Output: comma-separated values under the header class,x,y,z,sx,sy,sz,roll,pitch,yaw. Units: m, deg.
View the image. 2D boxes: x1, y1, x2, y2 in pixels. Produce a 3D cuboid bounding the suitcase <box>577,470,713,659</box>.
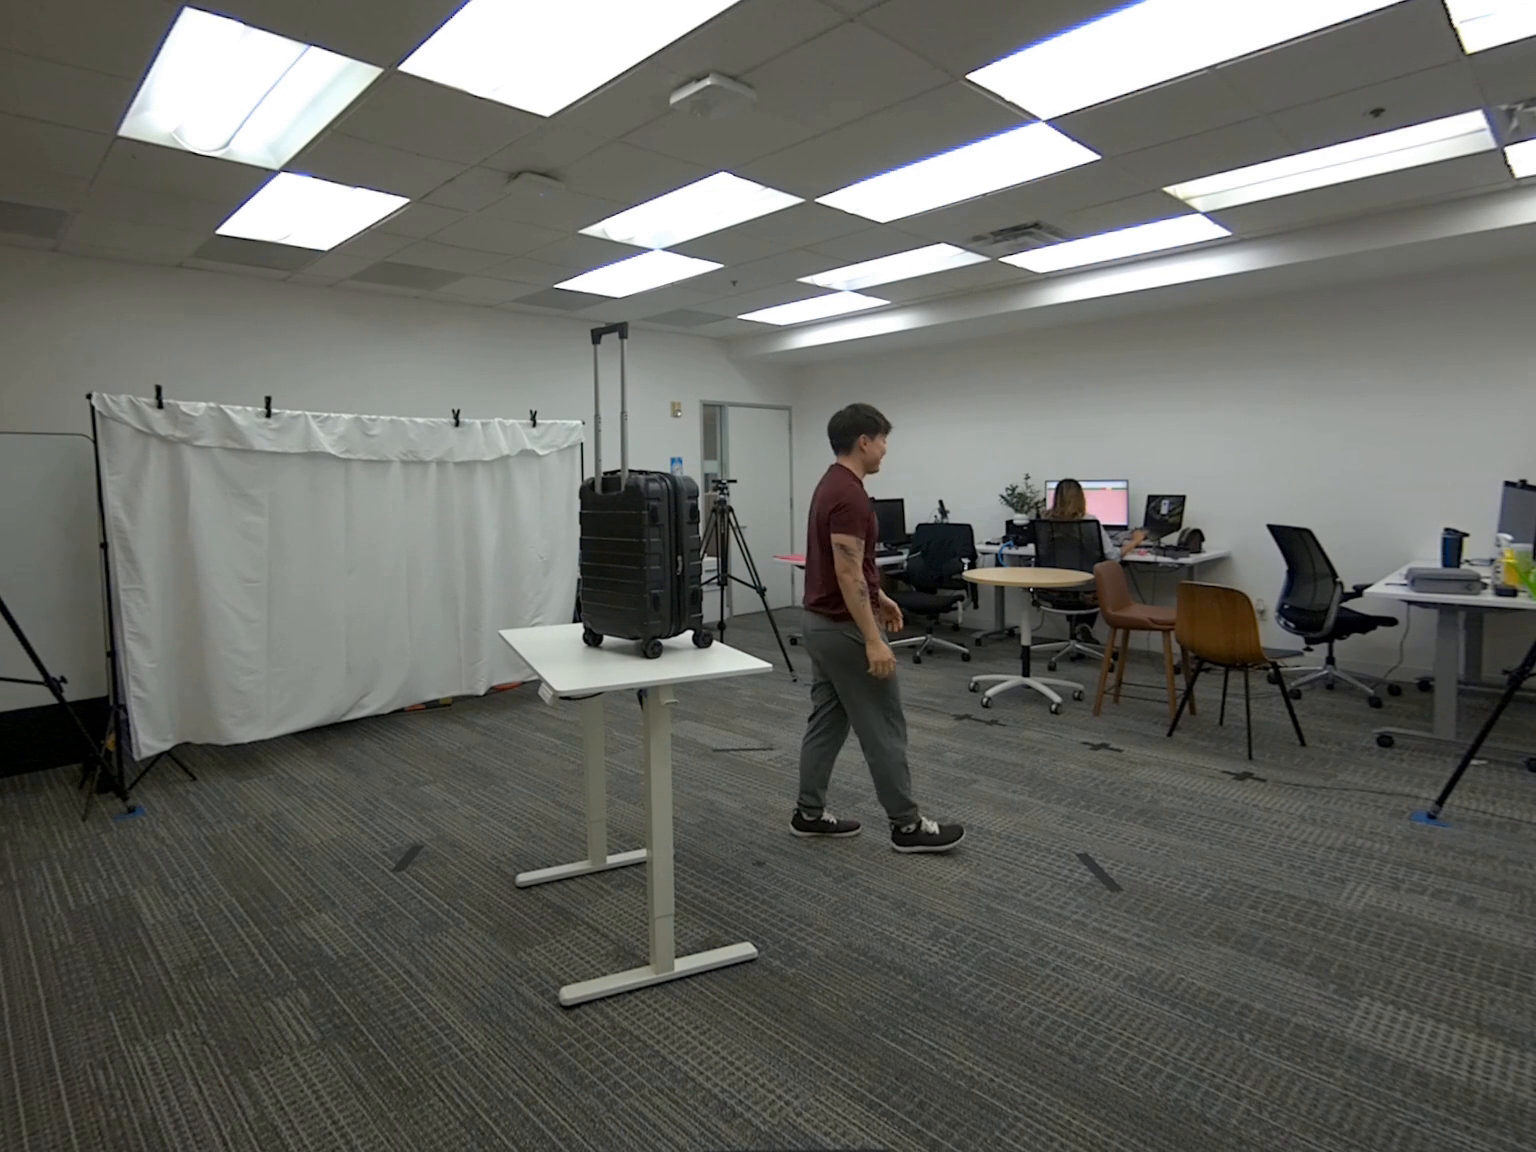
class,x,y,z,sx,sy,sz,roll,pitch,yaw
suitcase,-0.400,-0.258,2.643,0.396,0.976,0.250,3,5,44
